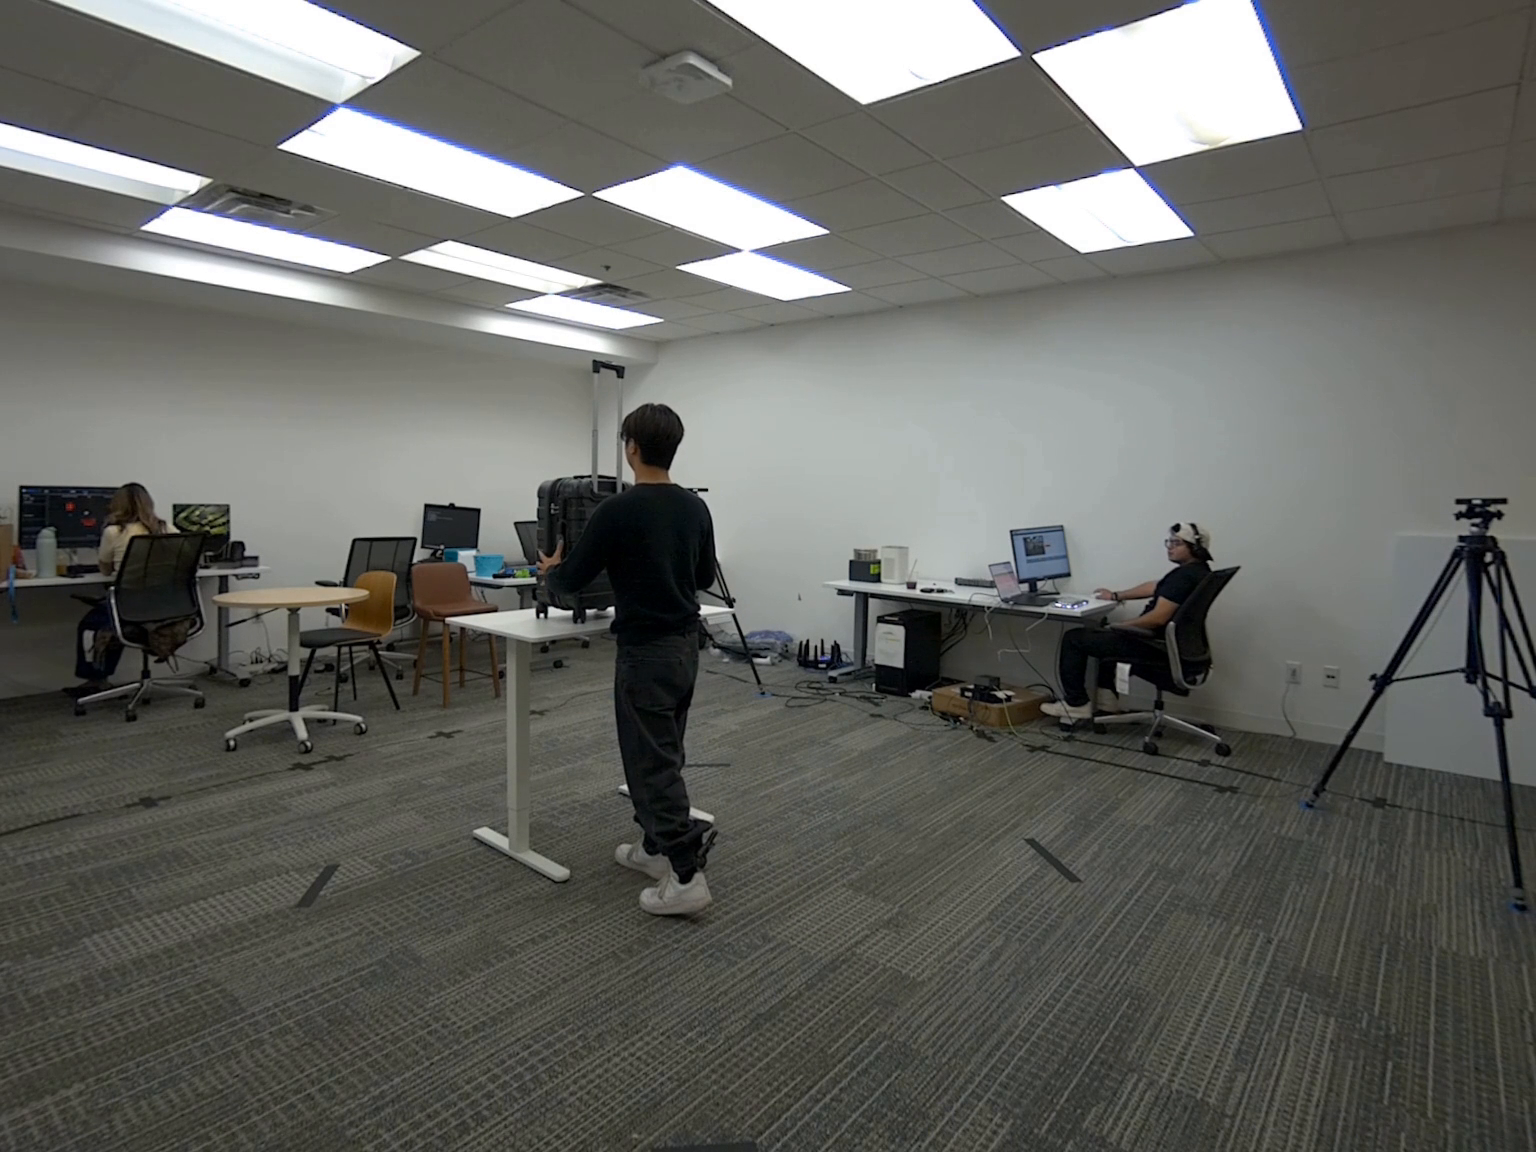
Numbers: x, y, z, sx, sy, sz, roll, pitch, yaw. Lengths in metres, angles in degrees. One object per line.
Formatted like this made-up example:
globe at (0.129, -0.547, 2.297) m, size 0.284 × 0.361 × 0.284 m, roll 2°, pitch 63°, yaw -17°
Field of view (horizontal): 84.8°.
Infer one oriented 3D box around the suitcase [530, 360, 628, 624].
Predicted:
suitcase at (-0.724, -0.325, 3.305) m, size 0.265 × 0.977 × 0.373 m, roll 1°, pitch 2°, yaw 38°
